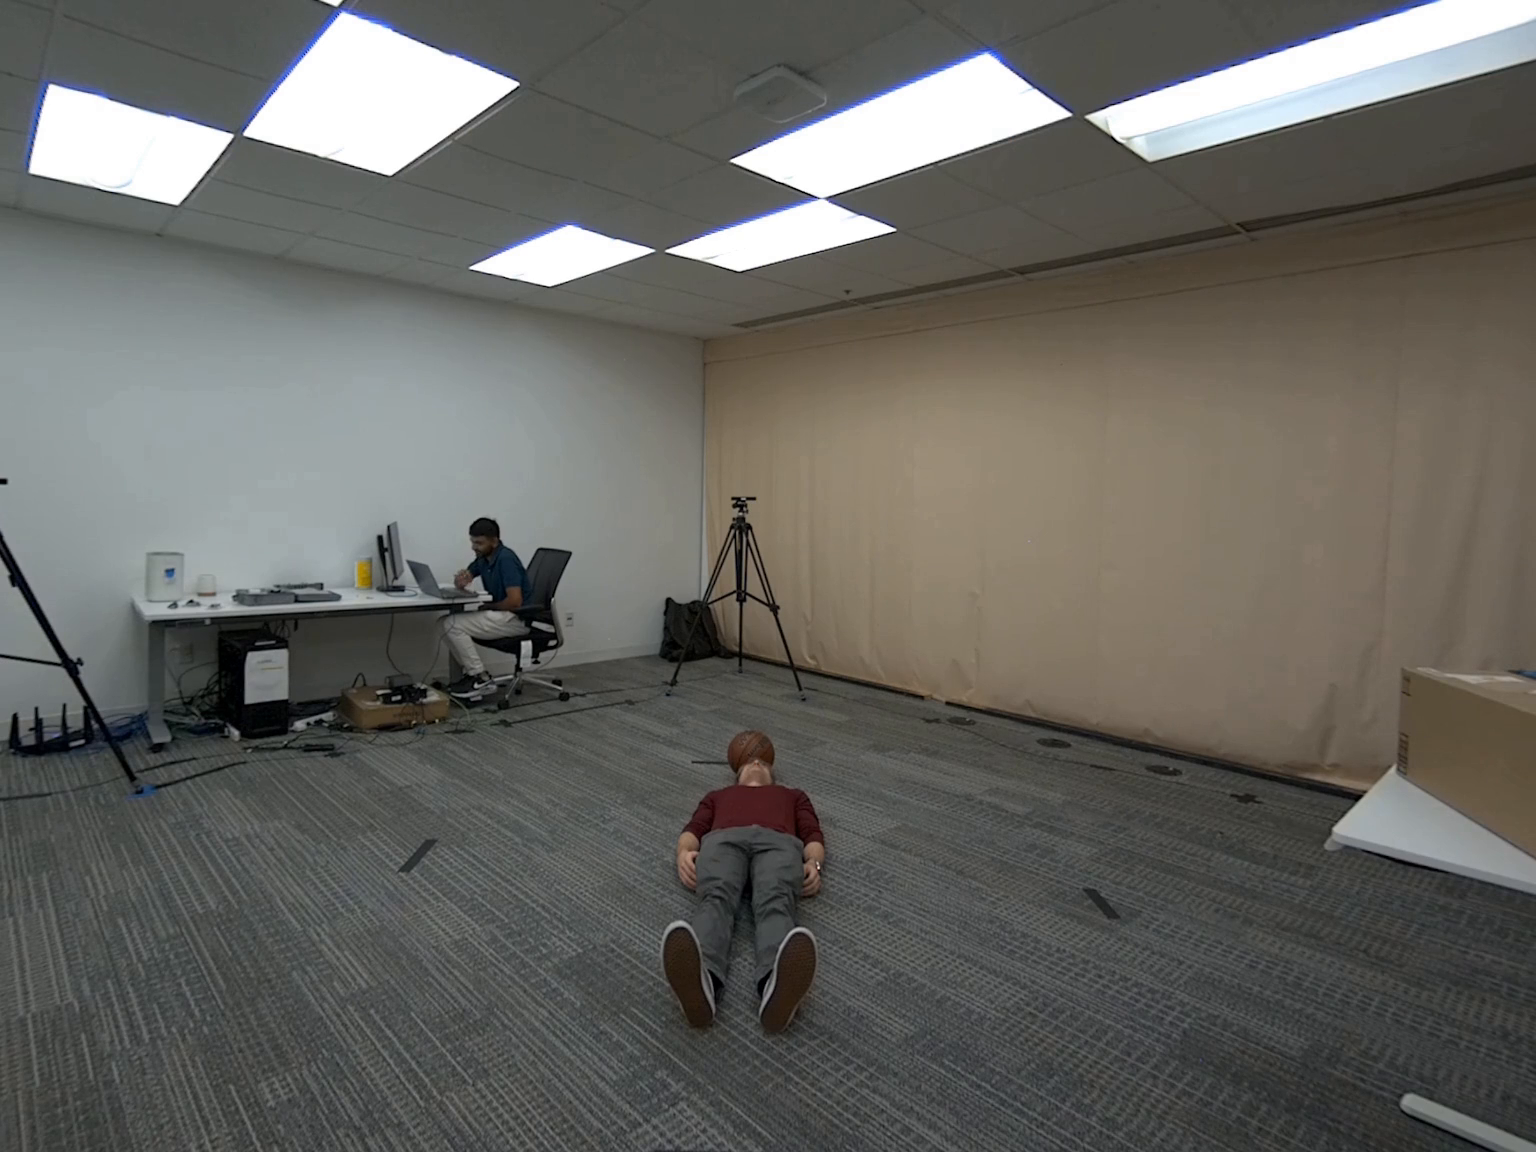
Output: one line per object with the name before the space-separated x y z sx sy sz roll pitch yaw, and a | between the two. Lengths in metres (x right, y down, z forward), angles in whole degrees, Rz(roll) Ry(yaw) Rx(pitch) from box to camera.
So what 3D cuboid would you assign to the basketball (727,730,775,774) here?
basketball | -0.100 0.895 4.219 0.236 0.235 0.237 1 4 -1
